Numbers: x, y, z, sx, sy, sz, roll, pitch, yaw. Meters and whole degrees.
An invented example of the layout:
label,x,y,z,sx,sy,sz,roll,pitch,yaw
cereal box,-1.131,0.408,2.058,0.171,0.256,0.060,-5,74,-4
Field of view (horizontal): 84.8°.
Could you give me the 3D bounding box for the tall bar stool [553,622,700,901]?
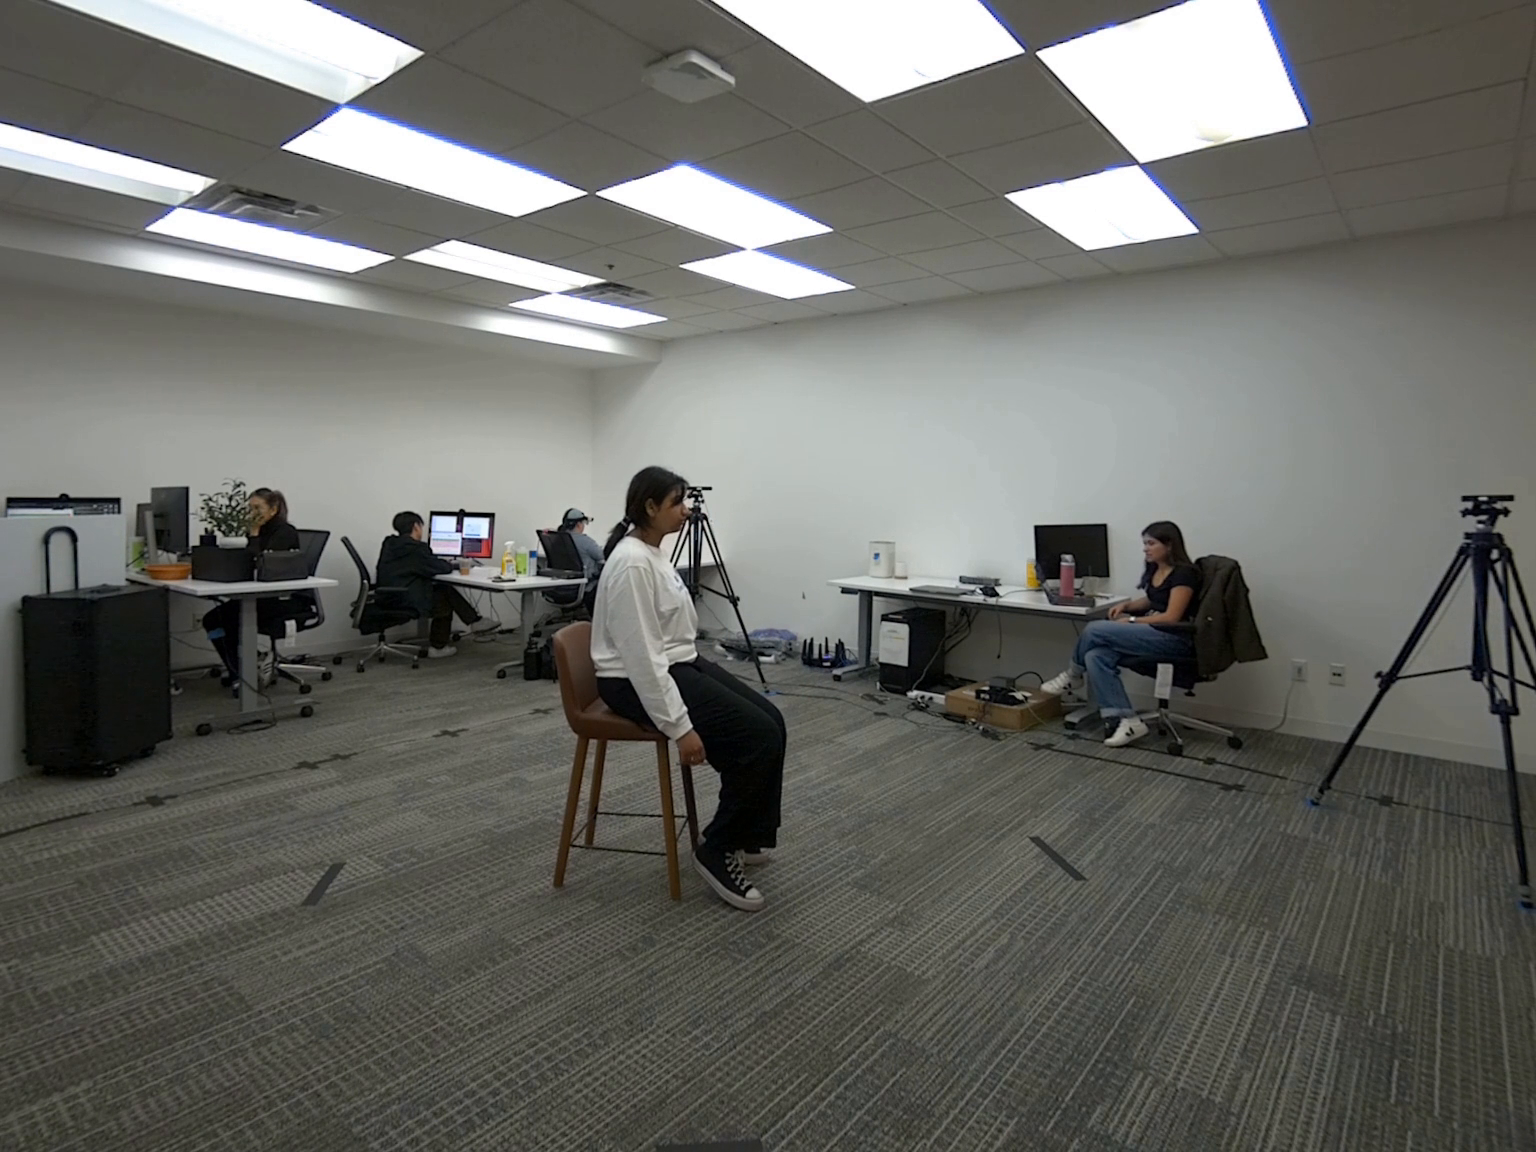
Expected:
label,x,y,z,sx,sy,sz,roll,pitch,yaw
tall bar stool,-0.504,0.631,3.074,0.472,0.887,0.453,0,3,8
